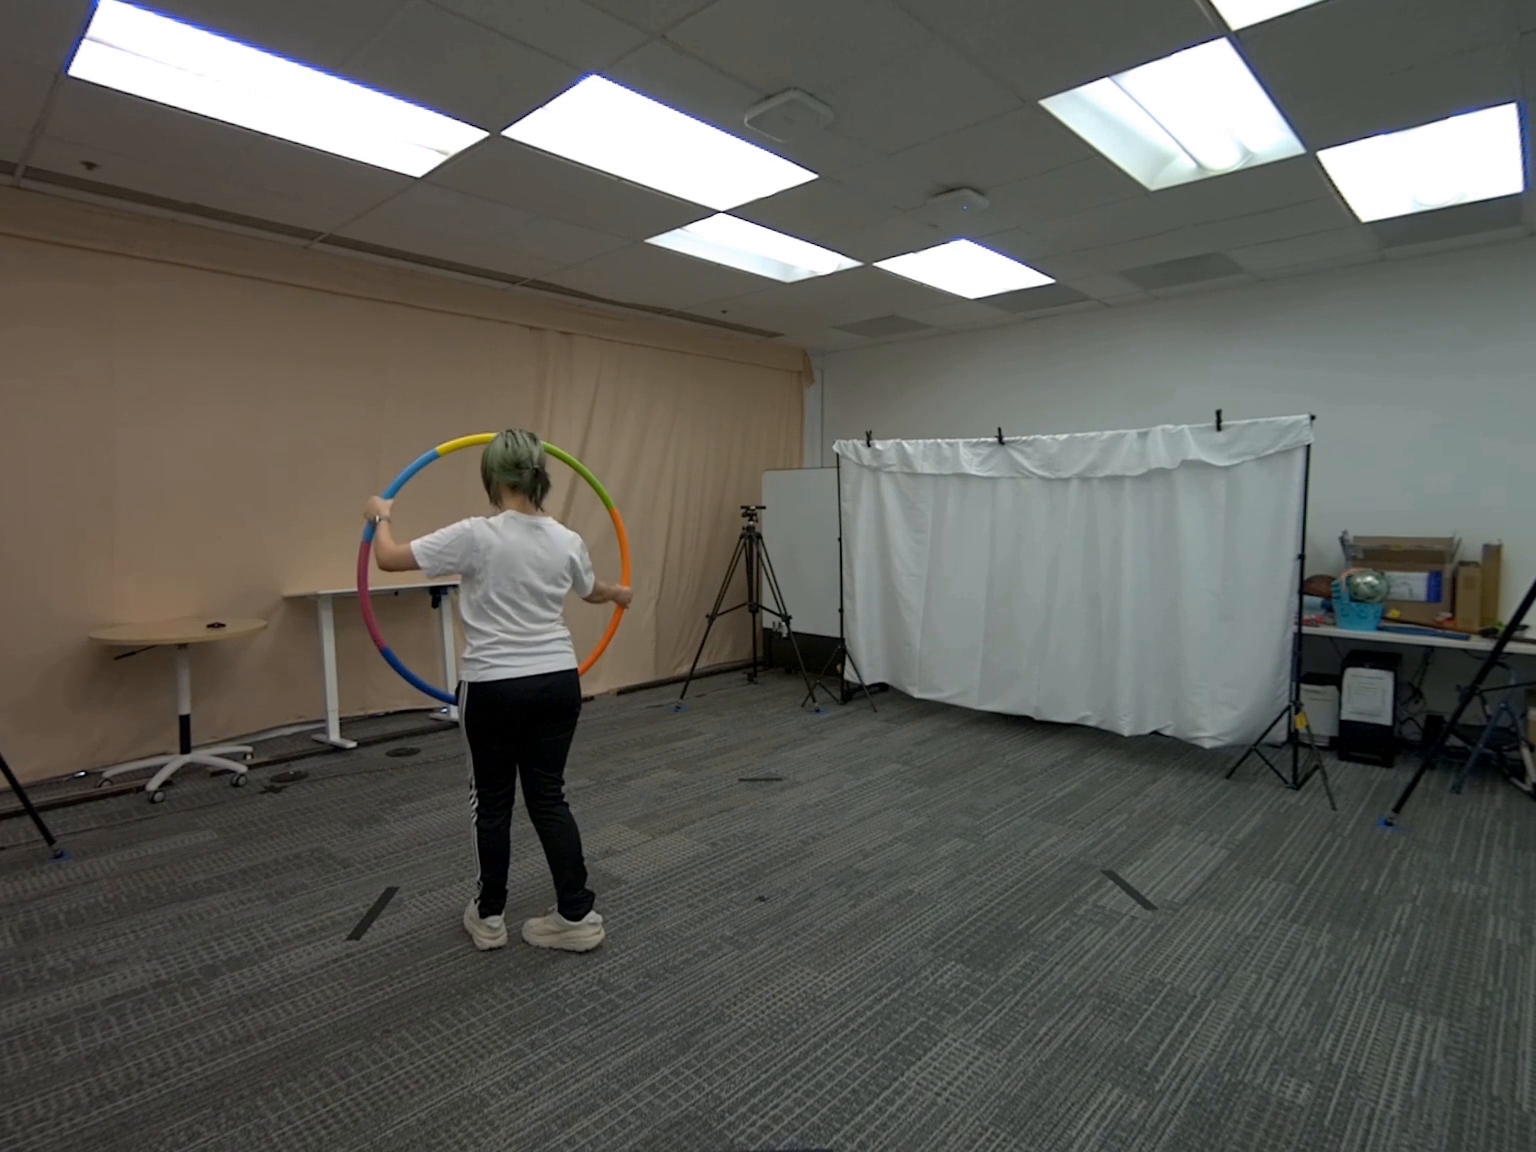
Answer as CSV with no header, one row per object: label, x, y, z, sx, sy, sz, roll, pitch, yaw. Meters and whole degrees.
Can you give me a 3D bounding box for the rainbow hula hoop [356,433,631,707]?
rainbow hula hoop,-0.930,-0.003,2.988,0.950,0.976,0.037,-3,5,-34
